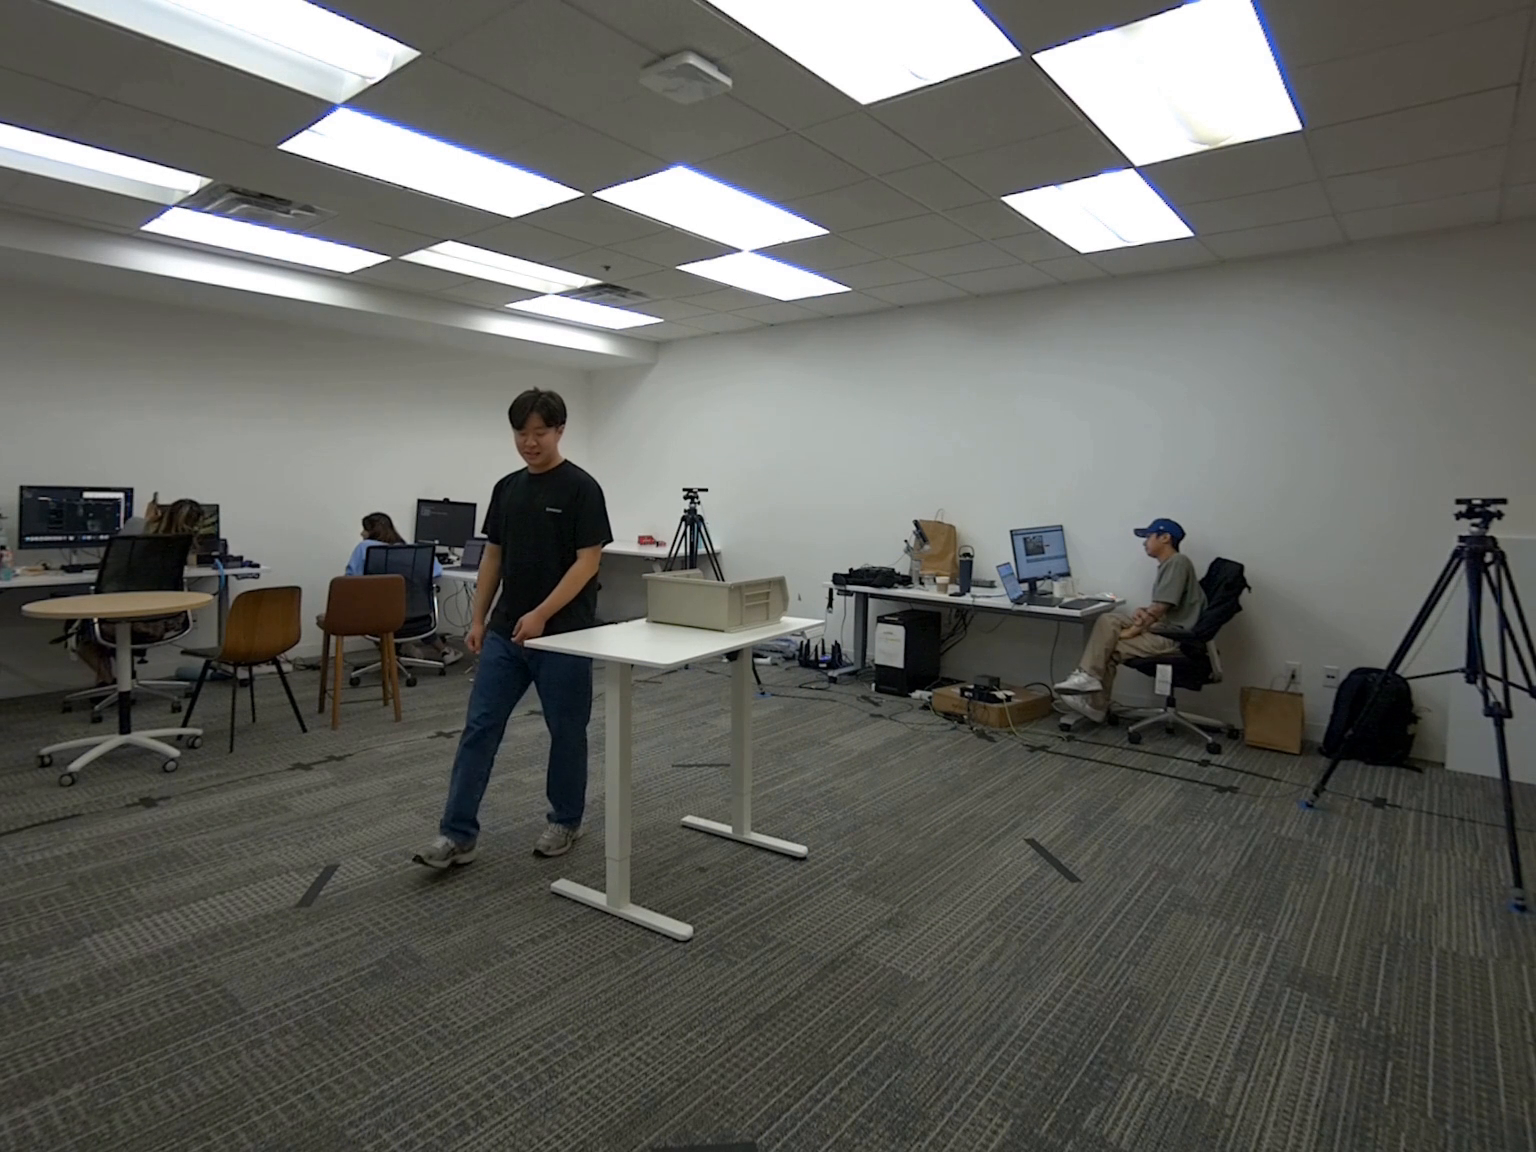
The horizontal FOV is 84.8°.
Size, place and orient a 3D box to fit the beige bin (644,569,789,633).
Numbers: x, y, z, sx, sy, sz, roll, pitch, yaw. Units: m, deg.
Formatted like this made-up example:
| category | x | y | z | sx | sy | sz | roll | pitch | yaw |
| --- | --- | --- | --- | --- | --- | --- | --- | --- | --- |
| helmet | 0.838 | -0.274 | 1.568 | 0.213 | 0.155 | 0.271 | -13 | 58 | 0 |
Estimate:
| category | x | y | z | sx | sy | sz | roll | pitch | yaw |
| --- | --- | --- | --- | --- | --- | --- | --- | --- | --- |
| beige bin | -0.209 | 0.088 | 3.229 | 0.436 | 0.188 | 0.367 | 5 | 8 | 36 |
